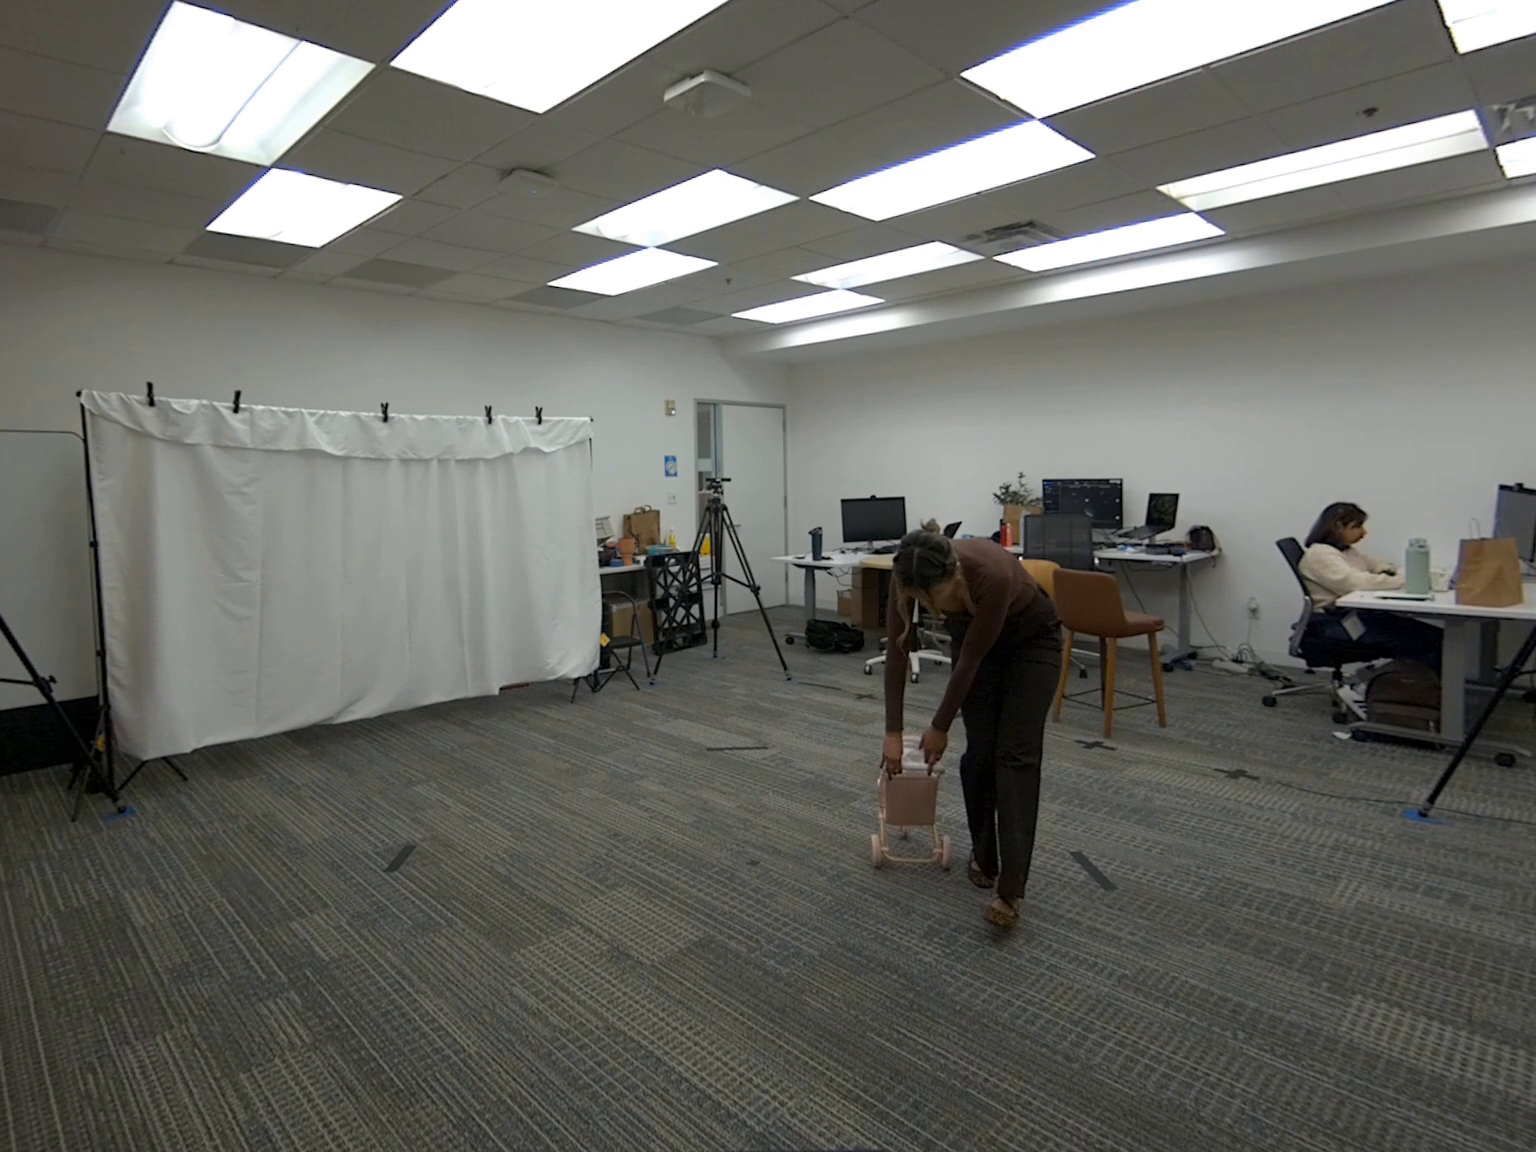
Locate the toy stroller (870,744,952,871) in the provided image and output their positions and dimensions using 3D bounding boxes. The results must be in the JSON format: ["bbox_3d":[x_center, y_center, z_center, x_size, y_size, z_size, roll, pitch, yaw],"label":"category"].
[{"bbox_3d":[0.516,0.808,3.099,0.284,0.524,0.344,1,22,10],"label":"toy stroller"}]
